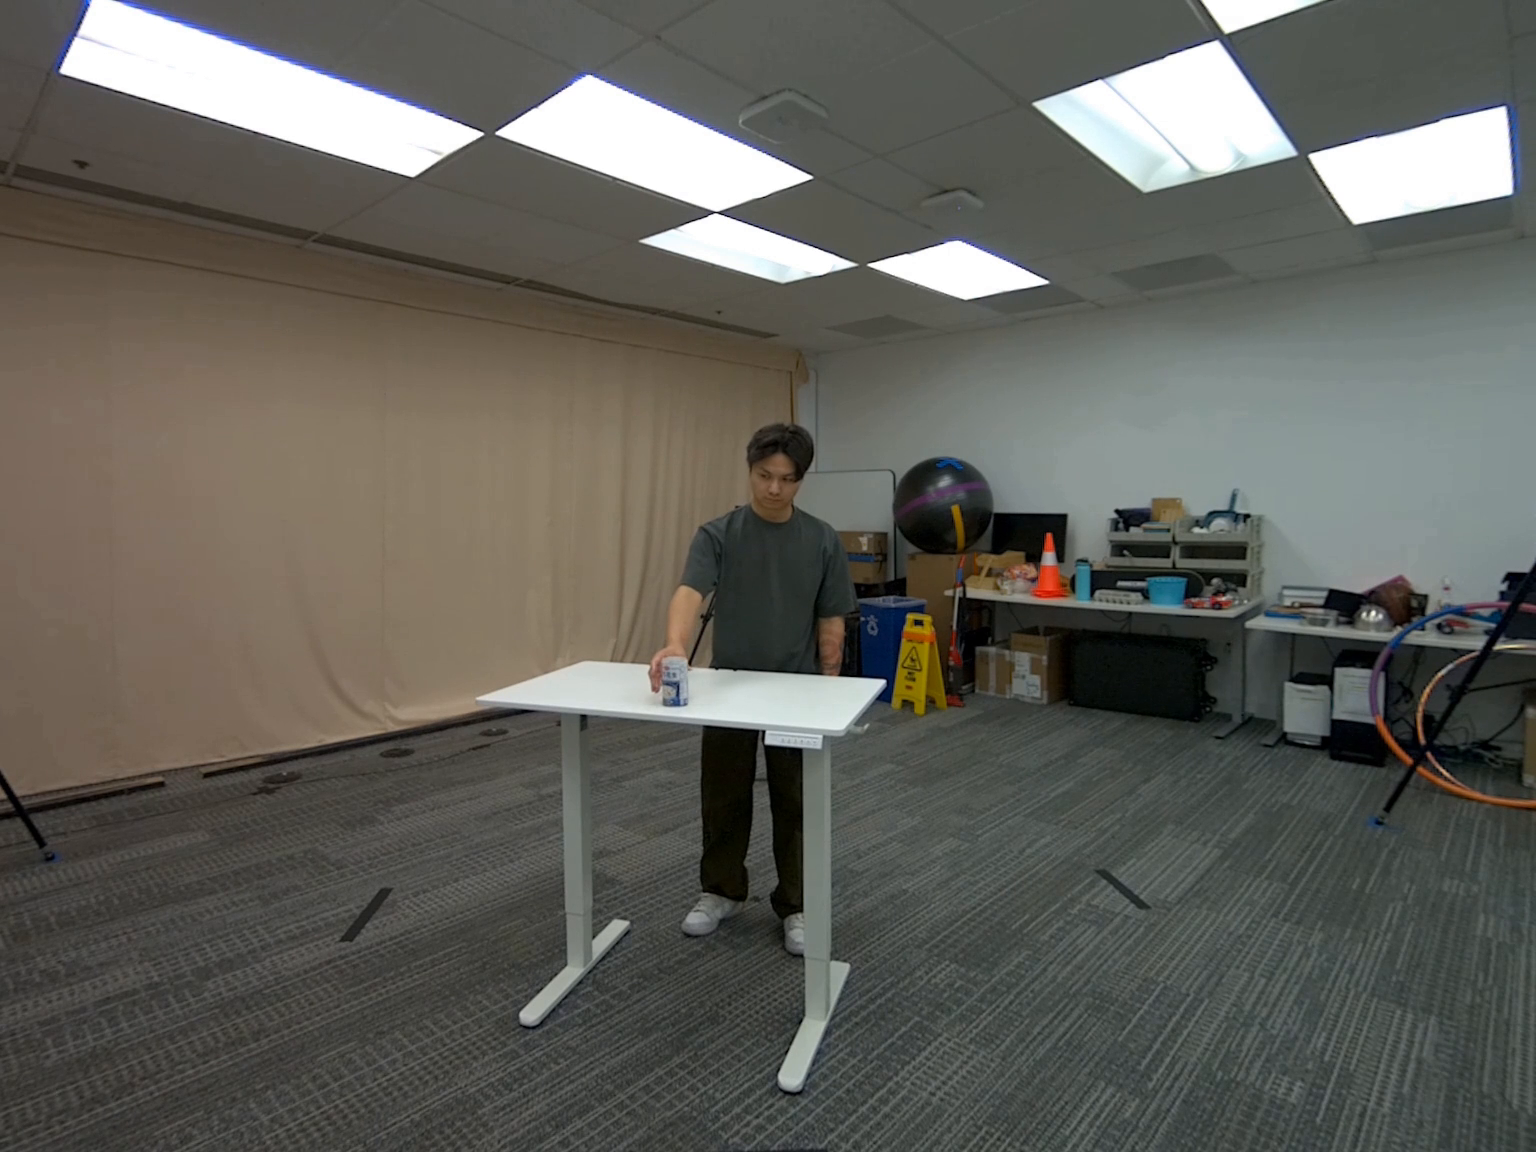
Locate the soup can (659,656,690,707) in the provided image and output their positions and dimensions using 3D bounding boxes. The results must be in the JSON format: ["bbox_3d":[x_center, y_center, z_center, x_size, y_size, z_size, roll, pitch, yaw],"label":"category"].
[{"bbox_3d":[-0.238,0.271,2.162,0.067,0.121,0.067,-1,7,-2],"label":"soup can"}]
